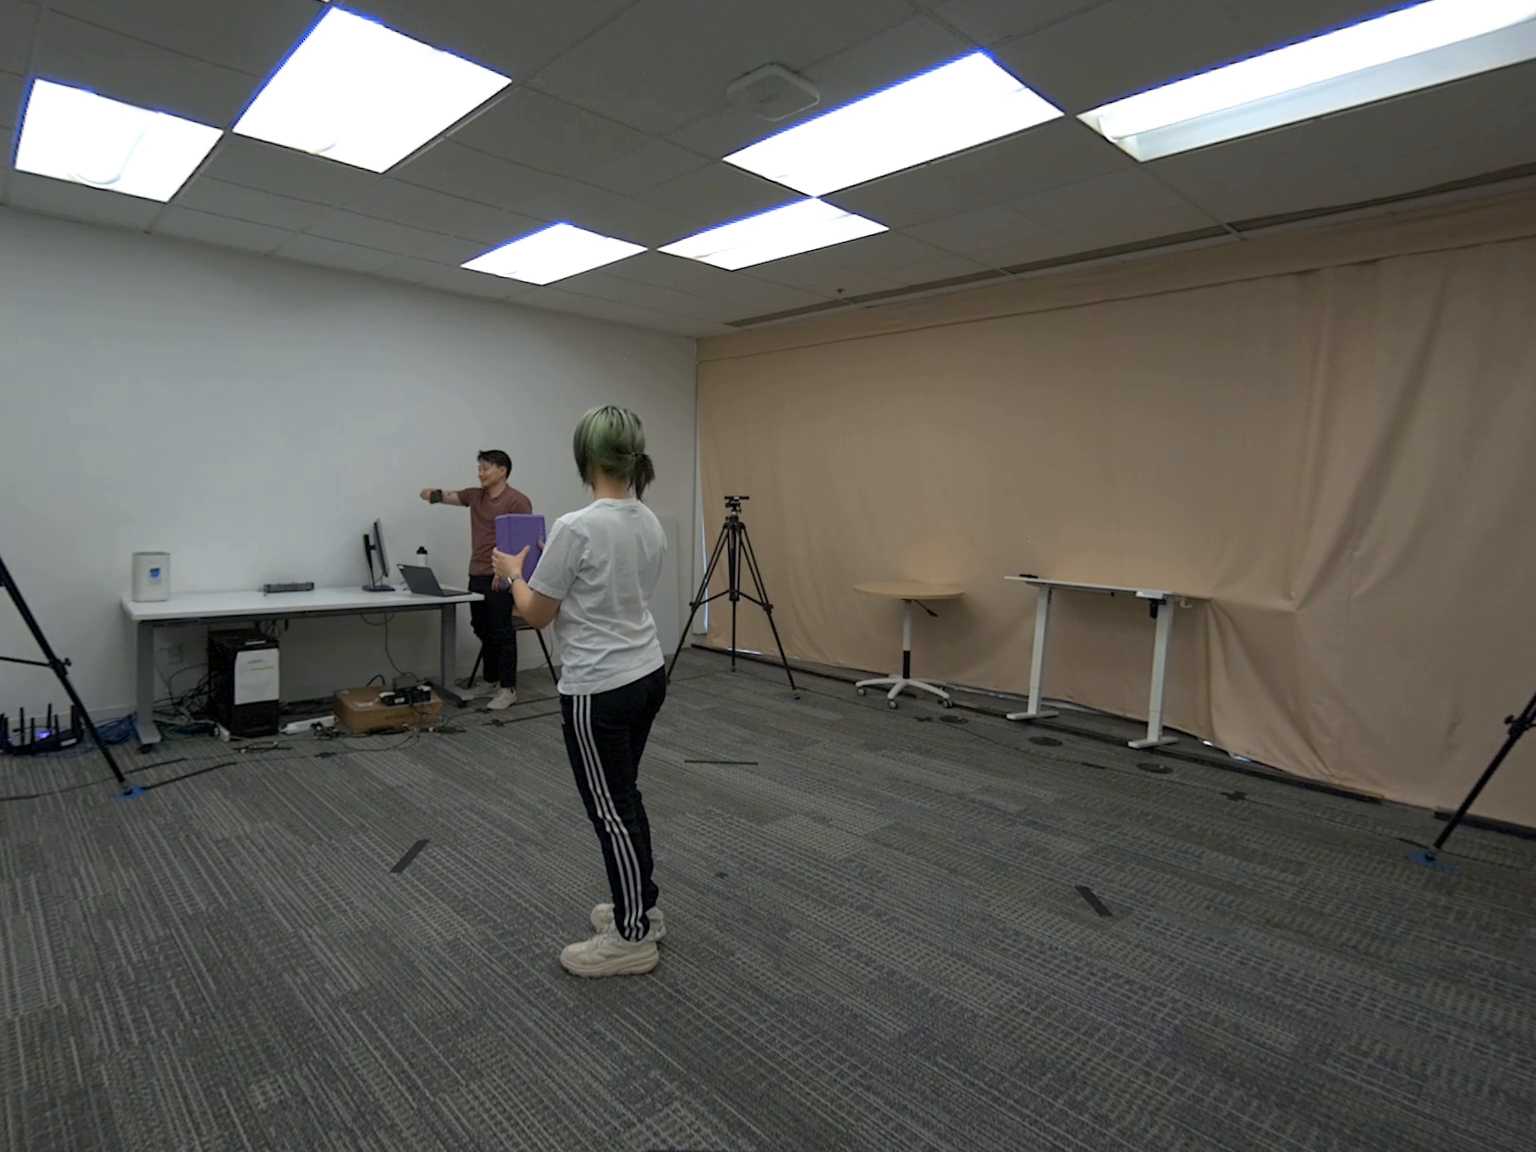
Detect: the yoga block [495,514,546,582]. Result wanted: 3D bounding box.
[{"bbox_3d":[-0.783,-0.076,2.651,0.078,0.230,0.145,-4,-2,35],"label":"yoga block"}]
